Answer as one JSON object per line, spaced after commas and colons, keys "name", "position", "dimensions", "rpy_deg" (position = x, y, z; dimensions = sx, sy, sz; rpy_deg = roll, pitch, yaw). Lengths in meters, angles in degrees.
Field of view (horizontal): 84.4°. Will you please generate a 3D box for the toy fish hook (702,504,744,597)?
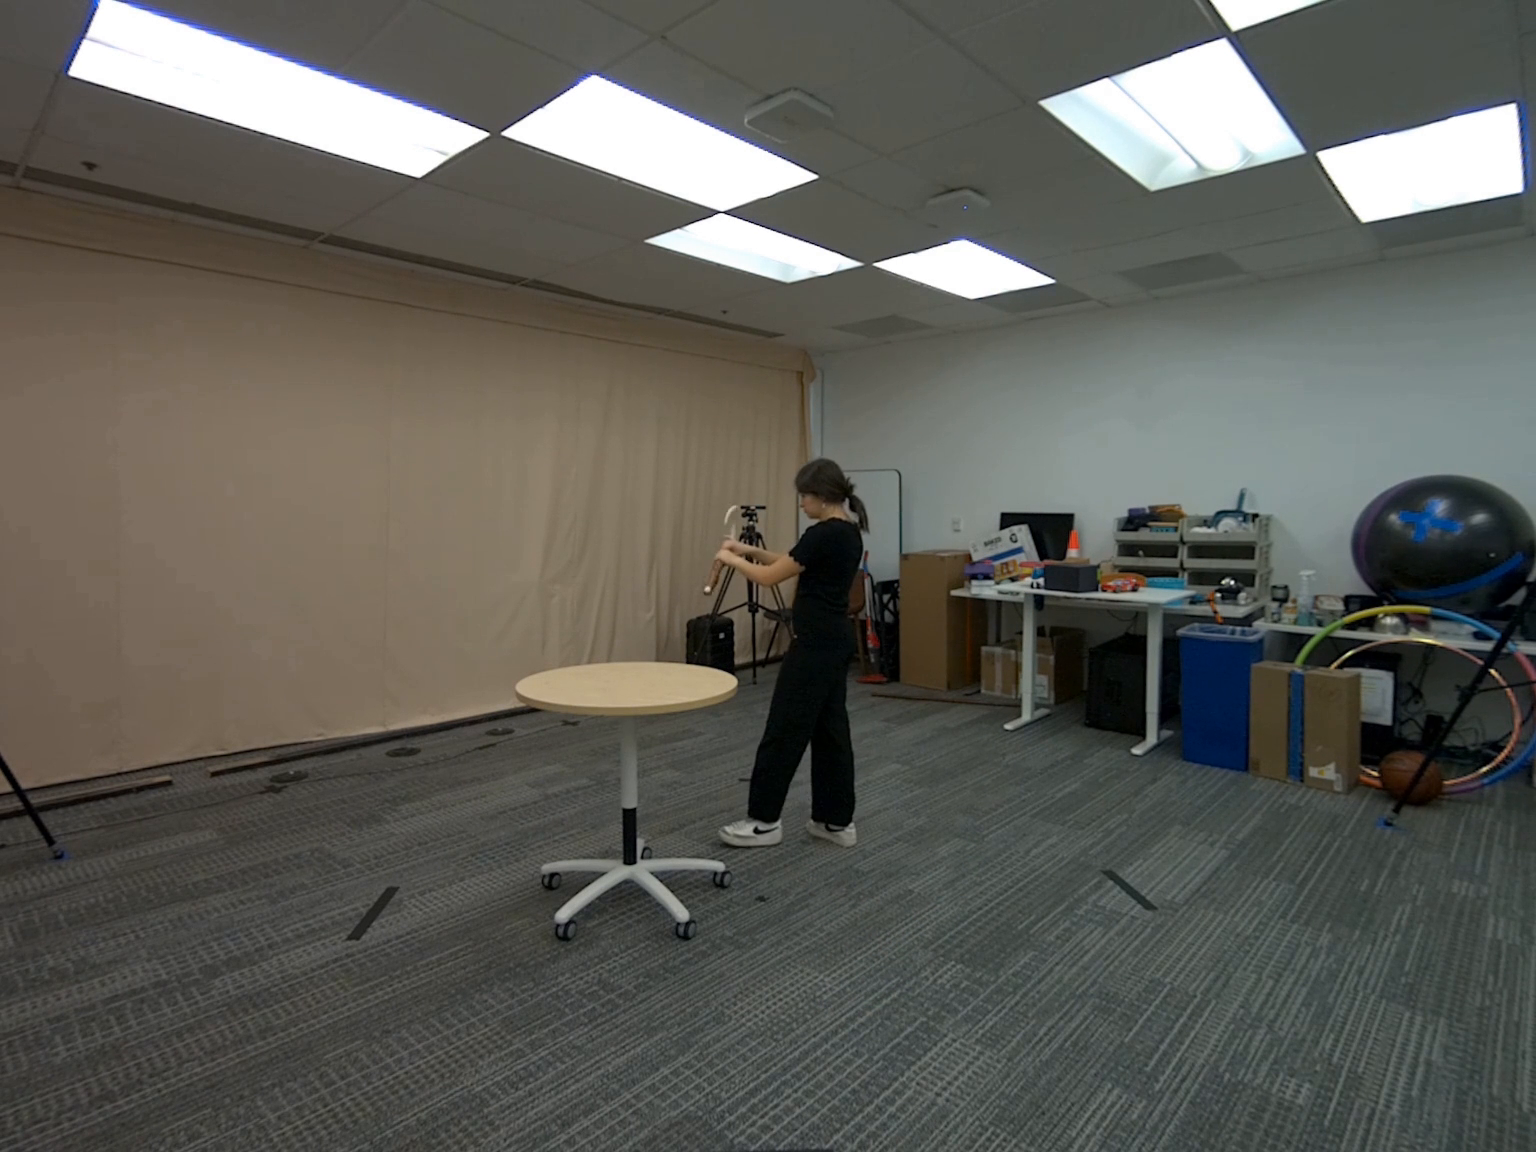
{"name": "toy fish hook", "position": [-0.195, -0.113, 3.607], "dimensions": [0.049, 0.220, 0.509], "rpy_deg": [5, 39, 12]}
